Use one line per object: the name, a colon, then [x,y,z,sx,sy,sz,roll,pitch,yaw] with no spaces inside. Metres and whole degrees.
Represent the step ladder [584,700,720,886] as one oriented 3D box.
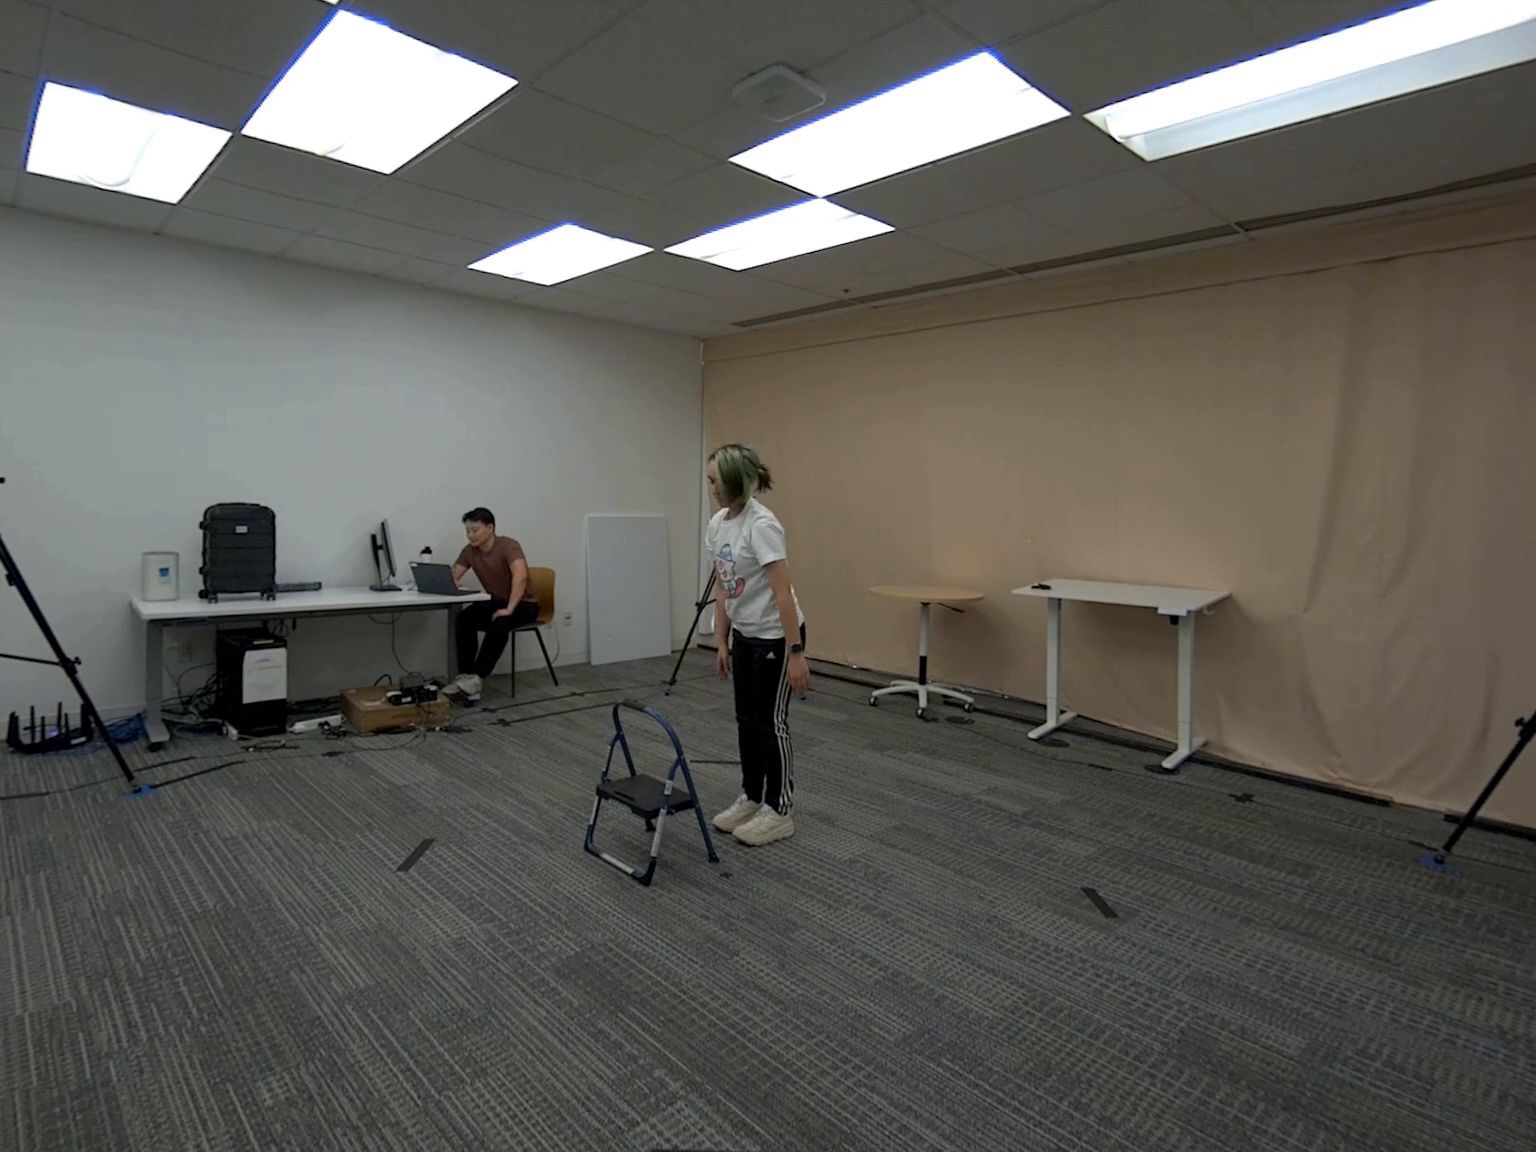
step ladder: [-0.453,0.782,3.243,0.341,0.605,0.441,-1,4,-44]
